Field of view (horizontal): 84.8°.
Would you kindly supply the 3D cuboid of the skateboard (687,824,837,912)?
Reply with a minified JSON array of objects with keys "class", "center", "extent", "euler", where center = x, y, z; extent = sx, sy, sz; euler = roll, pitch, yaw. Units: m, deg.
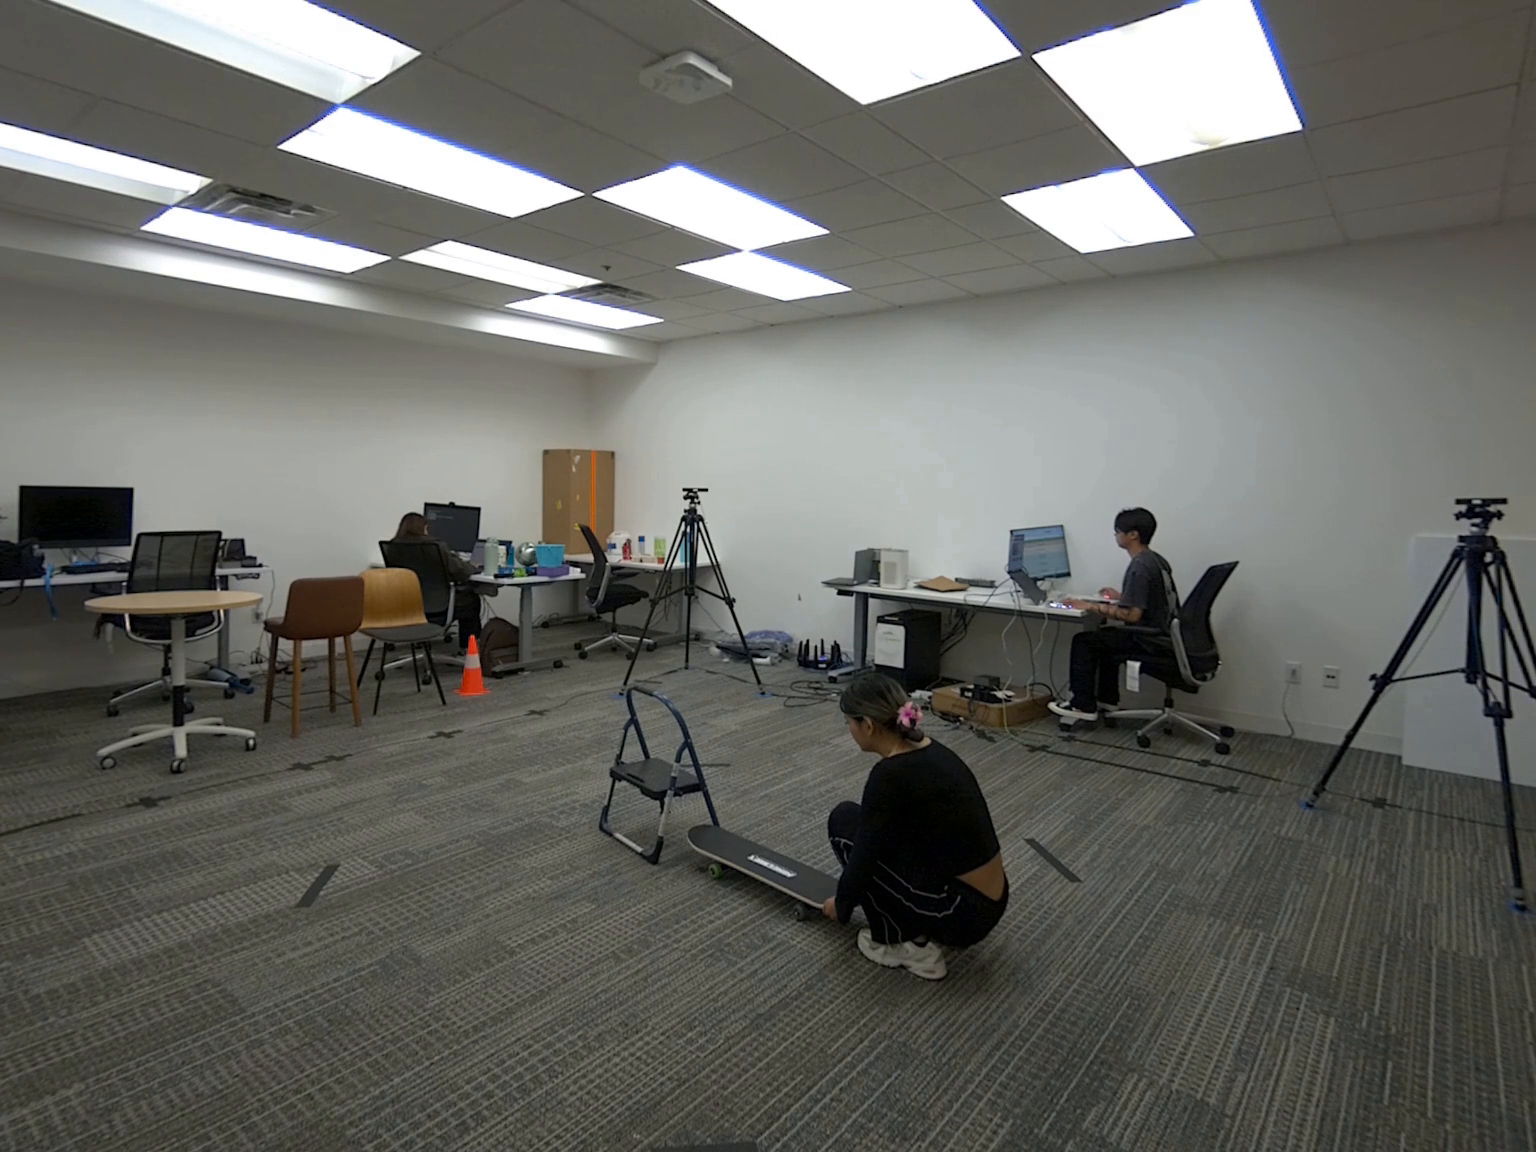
[{"class":"skateboard","center":[0.001,1.037,2.948],"extent":[0.813,0.110,0.188],"euler":[8,9,44]}]
